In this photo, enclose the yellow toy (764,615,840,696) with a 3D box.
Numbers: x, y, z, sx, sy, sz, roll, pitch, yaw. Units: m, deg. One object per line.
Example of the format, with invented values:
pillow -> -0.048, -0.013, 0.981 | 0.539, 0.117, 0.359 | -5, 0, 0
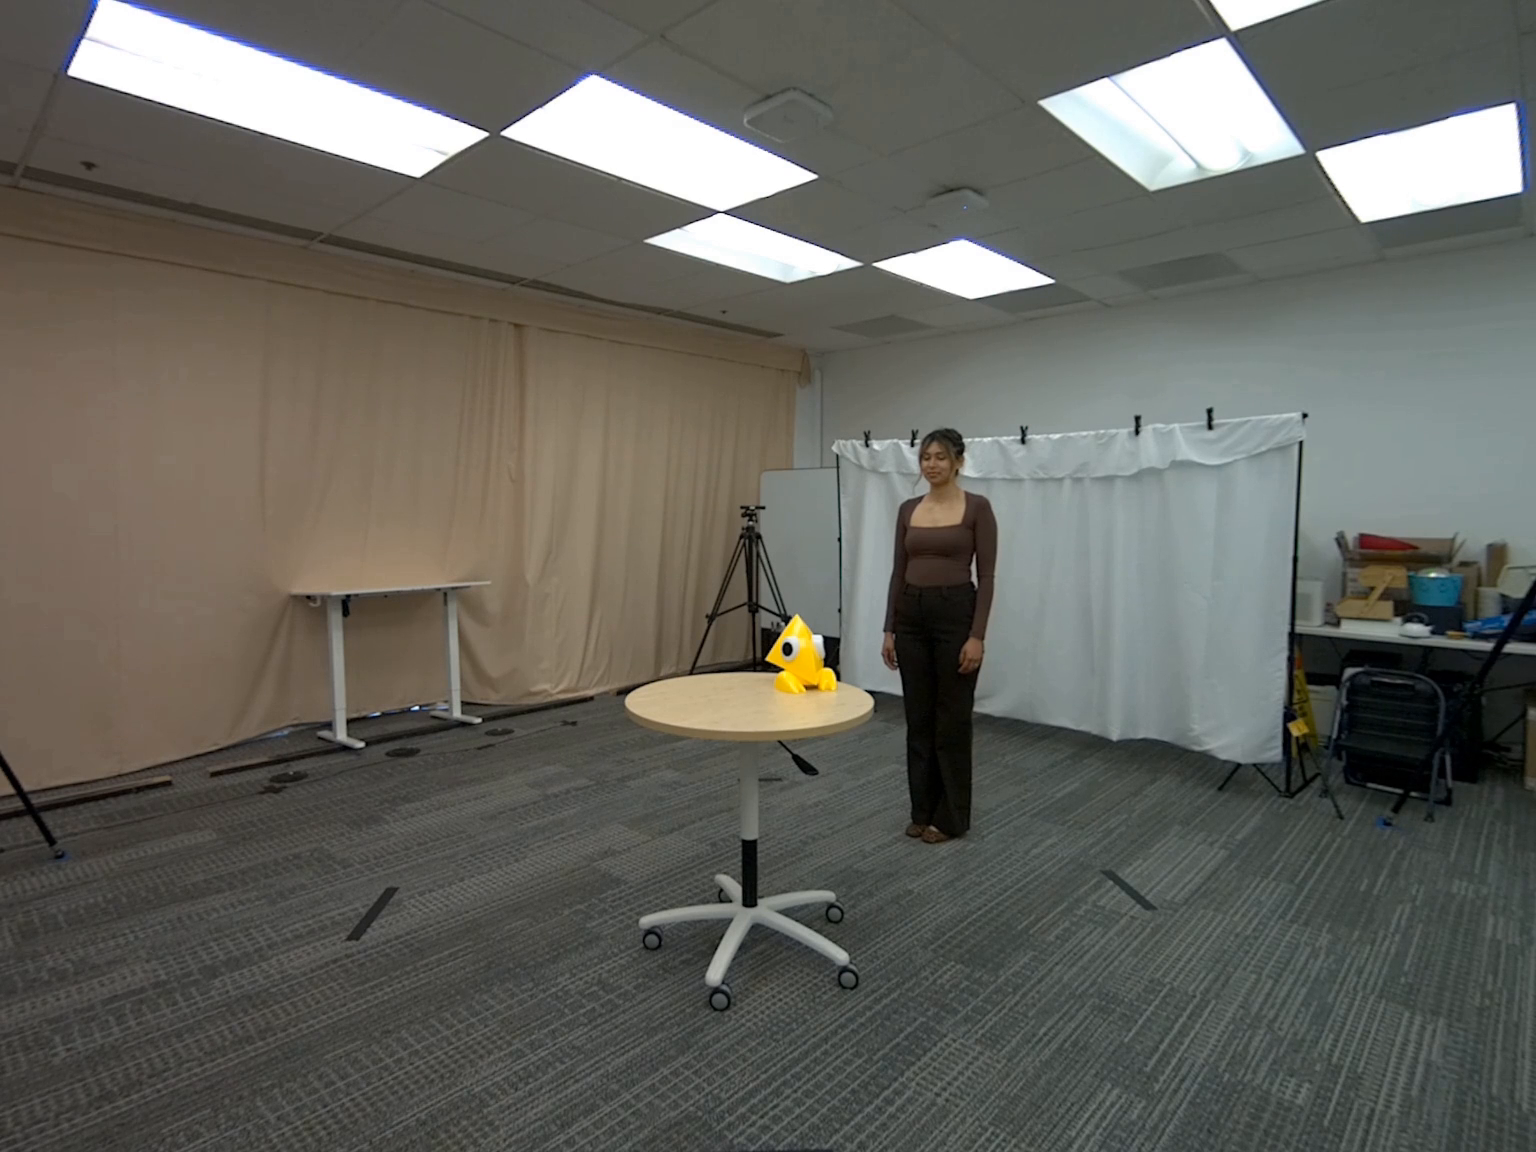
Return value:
yellow toy -> 0.120, 0.251, 2.759 | 0.201, 0.230, 0.197 | -1, 4, -19
